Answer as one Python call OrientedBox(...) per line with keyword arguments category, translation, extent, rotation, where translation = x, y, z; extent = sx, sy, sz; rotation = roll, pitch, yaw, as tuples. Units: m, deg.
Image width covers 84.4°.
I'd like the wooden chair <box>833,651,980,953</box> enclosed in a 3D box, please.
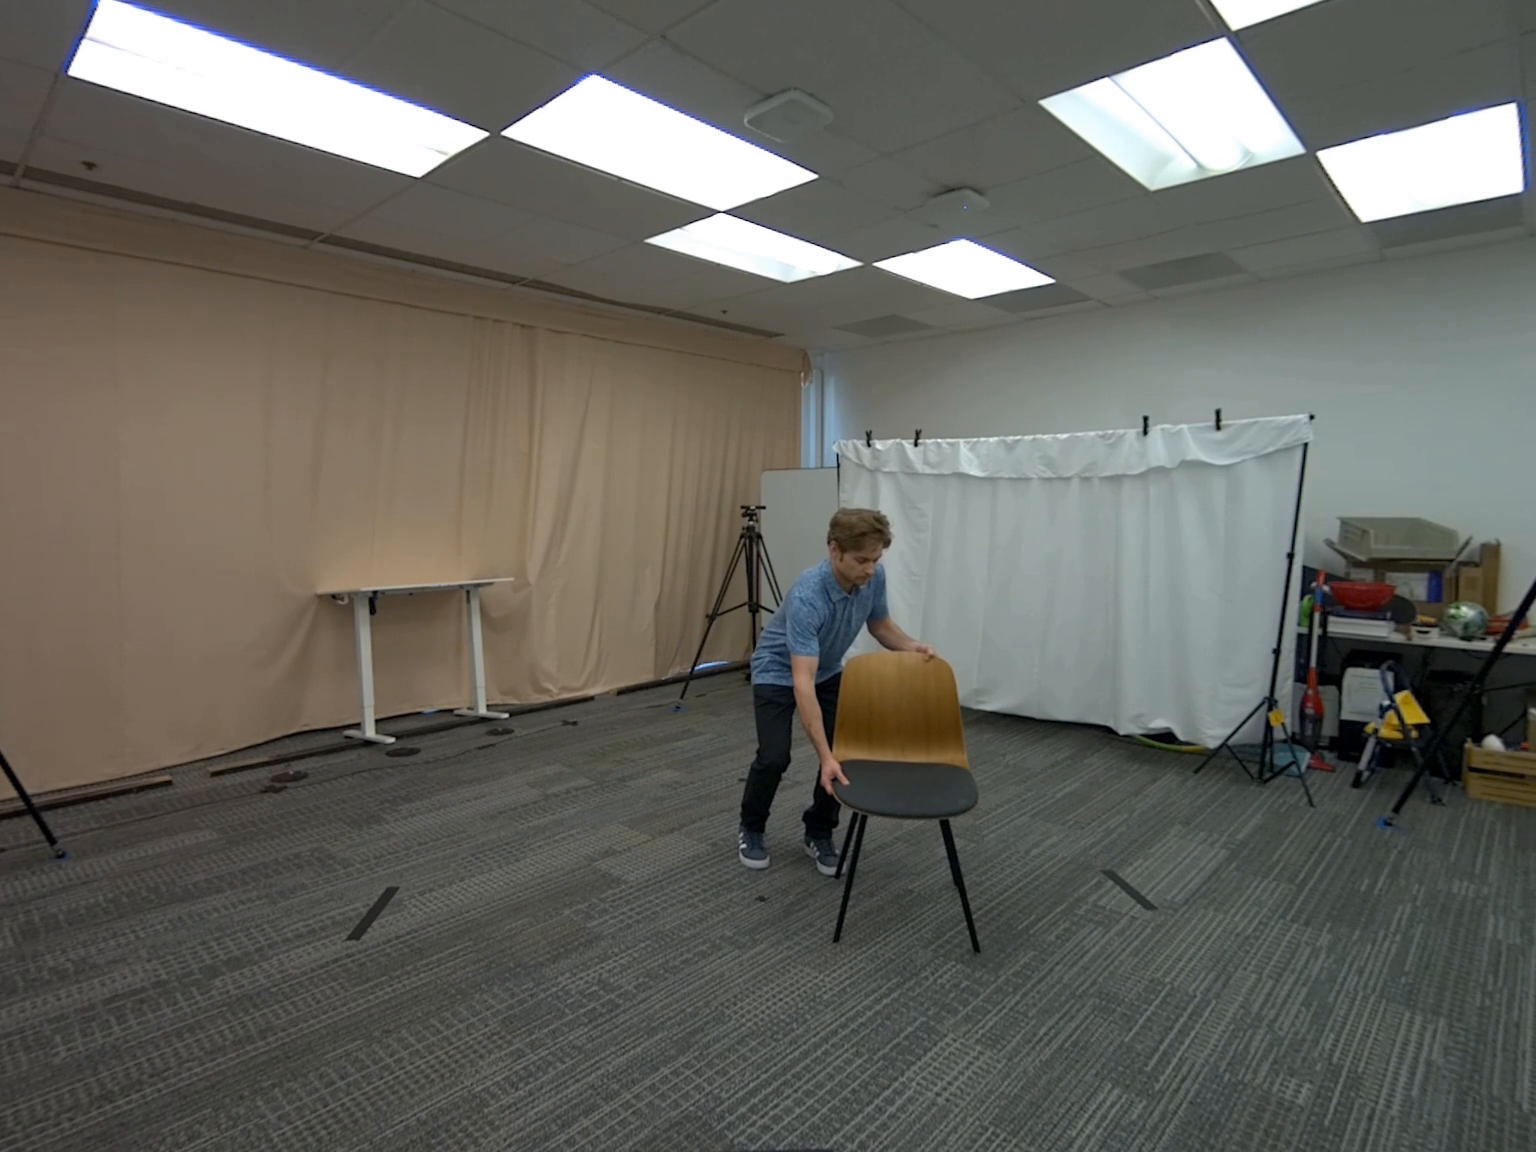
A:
OrientedBox(category="wooden chair", translation=(0.457, 0.724, 2.818), extent=(0.482, 0.877, 0.519), rotation=(1, 1, 7))
